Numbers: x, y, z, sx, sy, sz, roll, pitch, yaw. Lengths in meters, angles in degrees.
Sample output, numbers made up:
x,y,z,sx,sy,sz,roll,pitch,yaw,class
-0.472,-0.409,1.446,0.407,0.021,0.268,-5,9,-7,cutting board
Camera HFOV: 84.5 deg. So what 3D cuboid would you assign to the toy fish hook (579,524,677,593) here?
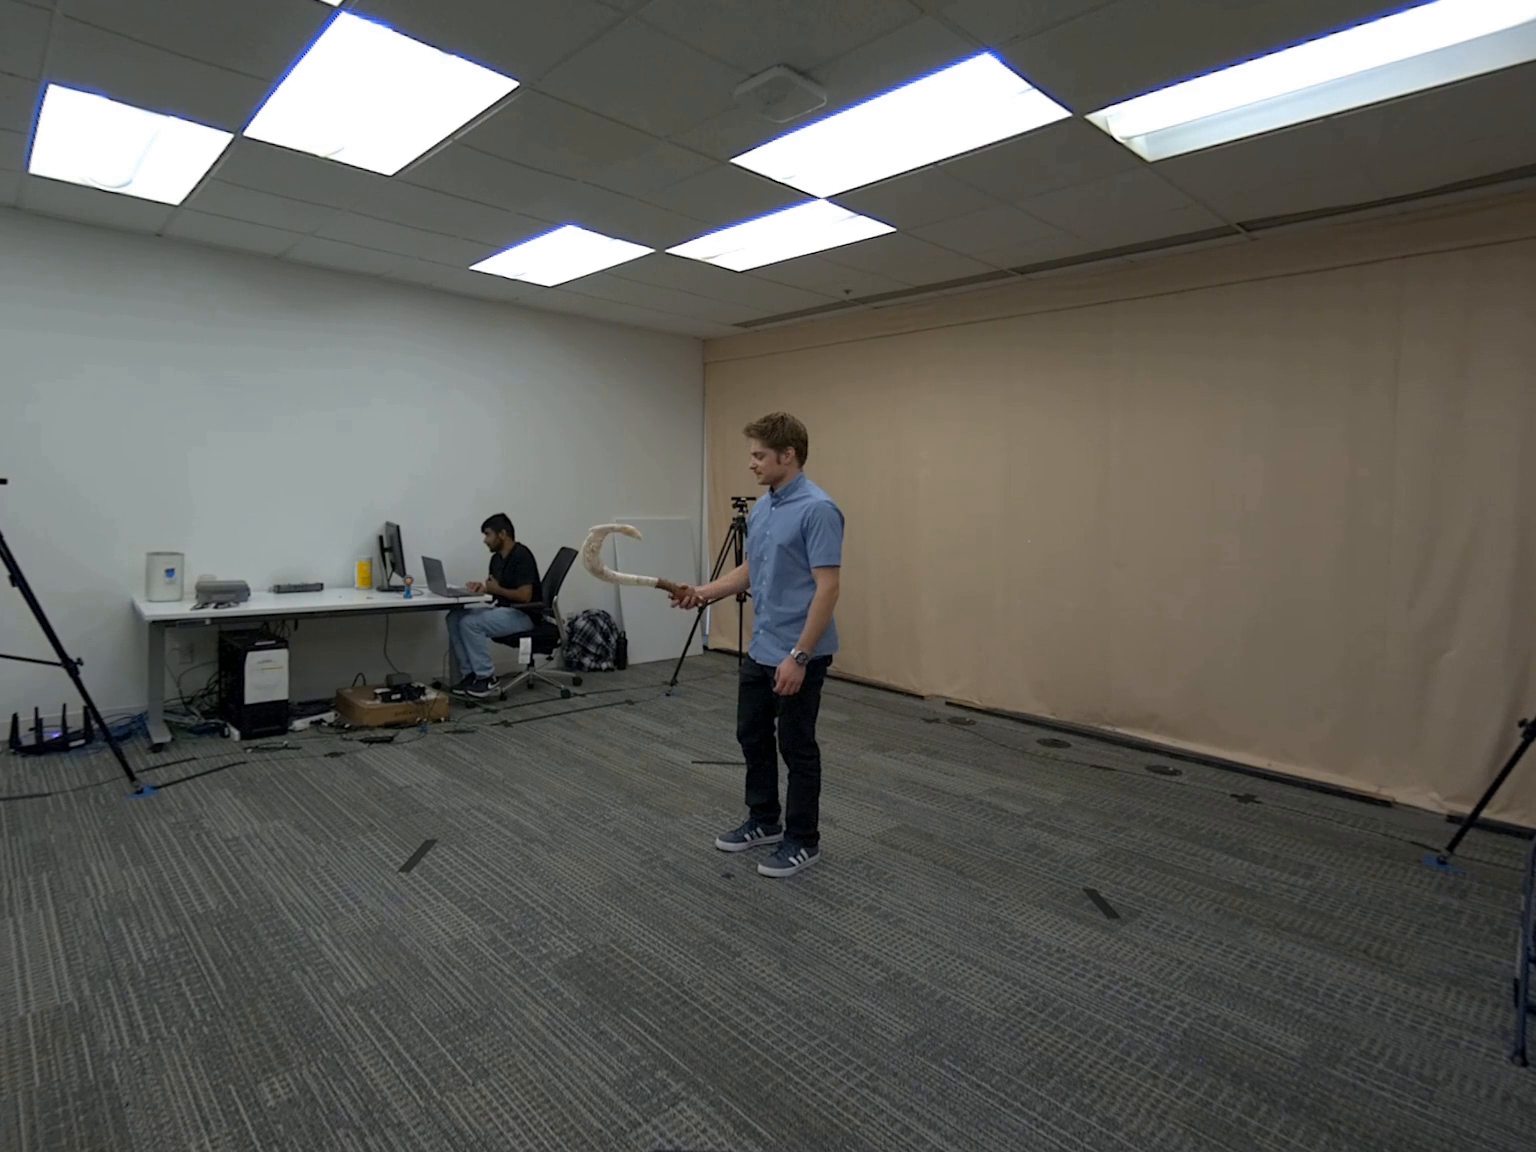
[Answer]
x,y,z,sx,sy,sz,roll,pitch,yaw,class
-0.457,-0.003,3.156,0.500,0.224,0.049,21,4,-14,toy fish hook
